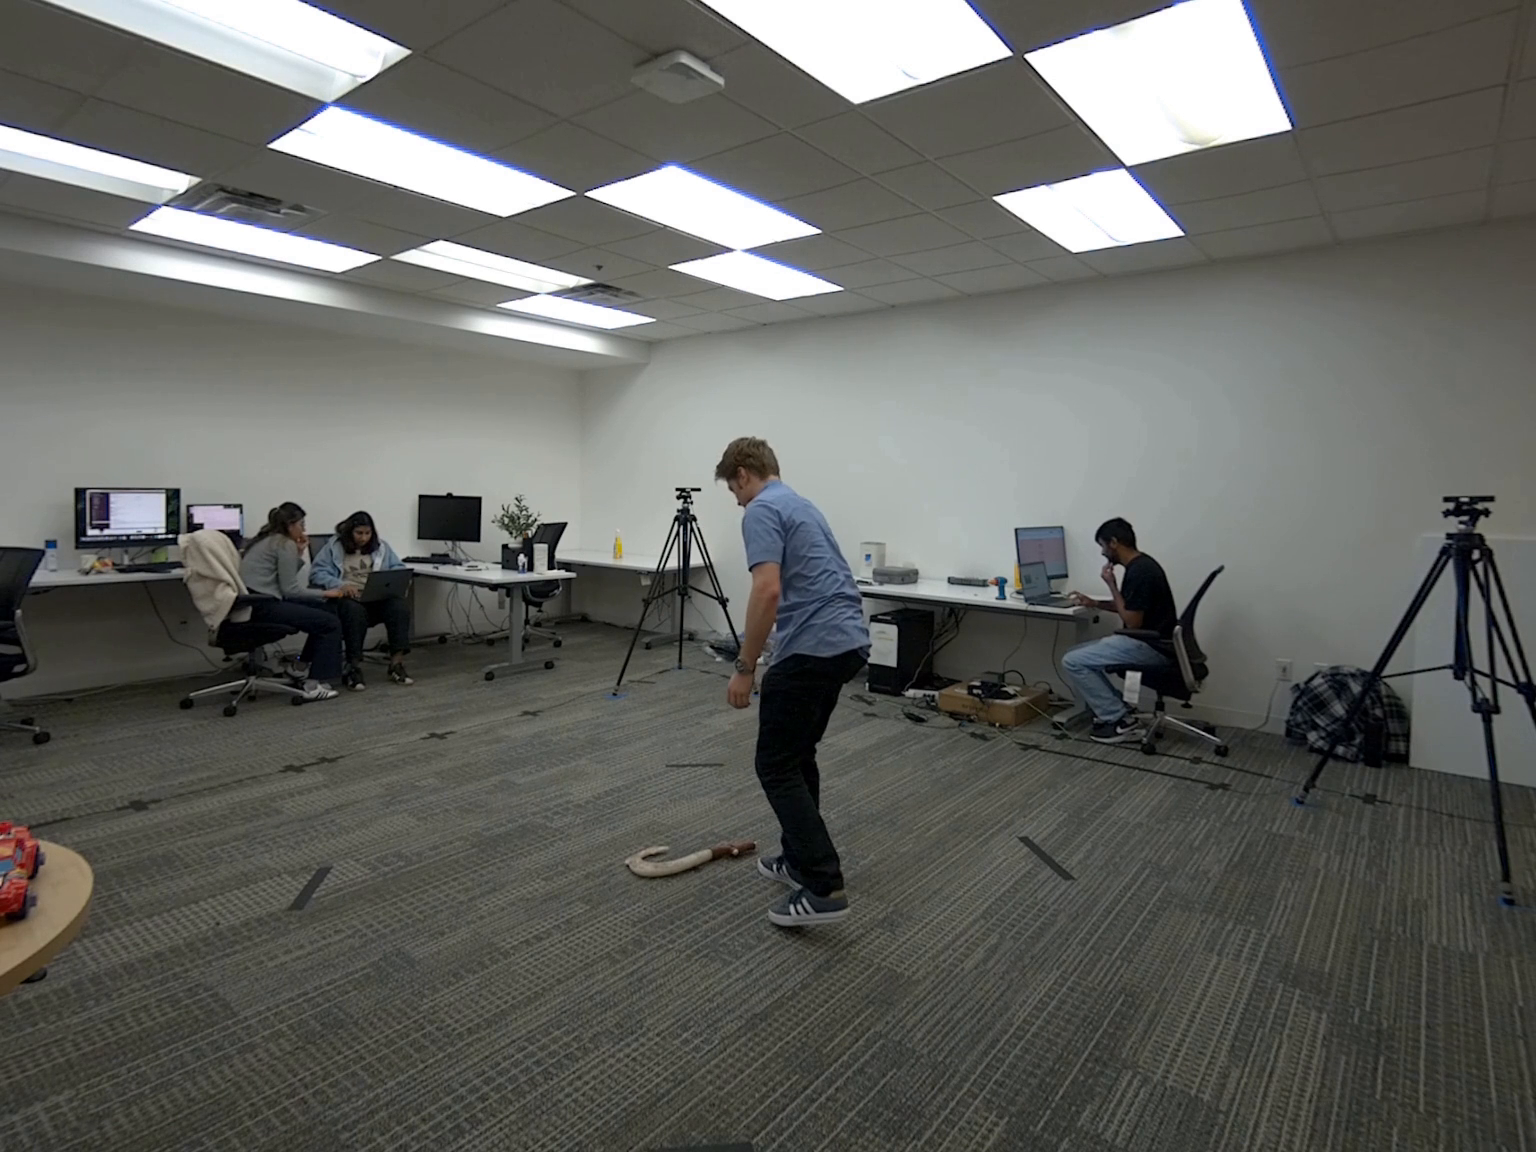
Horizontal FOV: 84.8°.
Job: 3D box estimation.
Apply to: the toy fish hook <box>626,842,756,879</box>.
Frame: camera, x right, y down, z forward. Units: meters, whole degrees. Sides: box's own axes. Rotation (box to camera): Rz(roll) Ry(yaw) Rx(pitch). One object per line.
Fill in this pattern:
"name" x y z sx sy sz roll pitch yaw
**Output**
"toy fish hook" -0.292 1.037 3.196 0.493 0.048 0.232 -2 8 -29
